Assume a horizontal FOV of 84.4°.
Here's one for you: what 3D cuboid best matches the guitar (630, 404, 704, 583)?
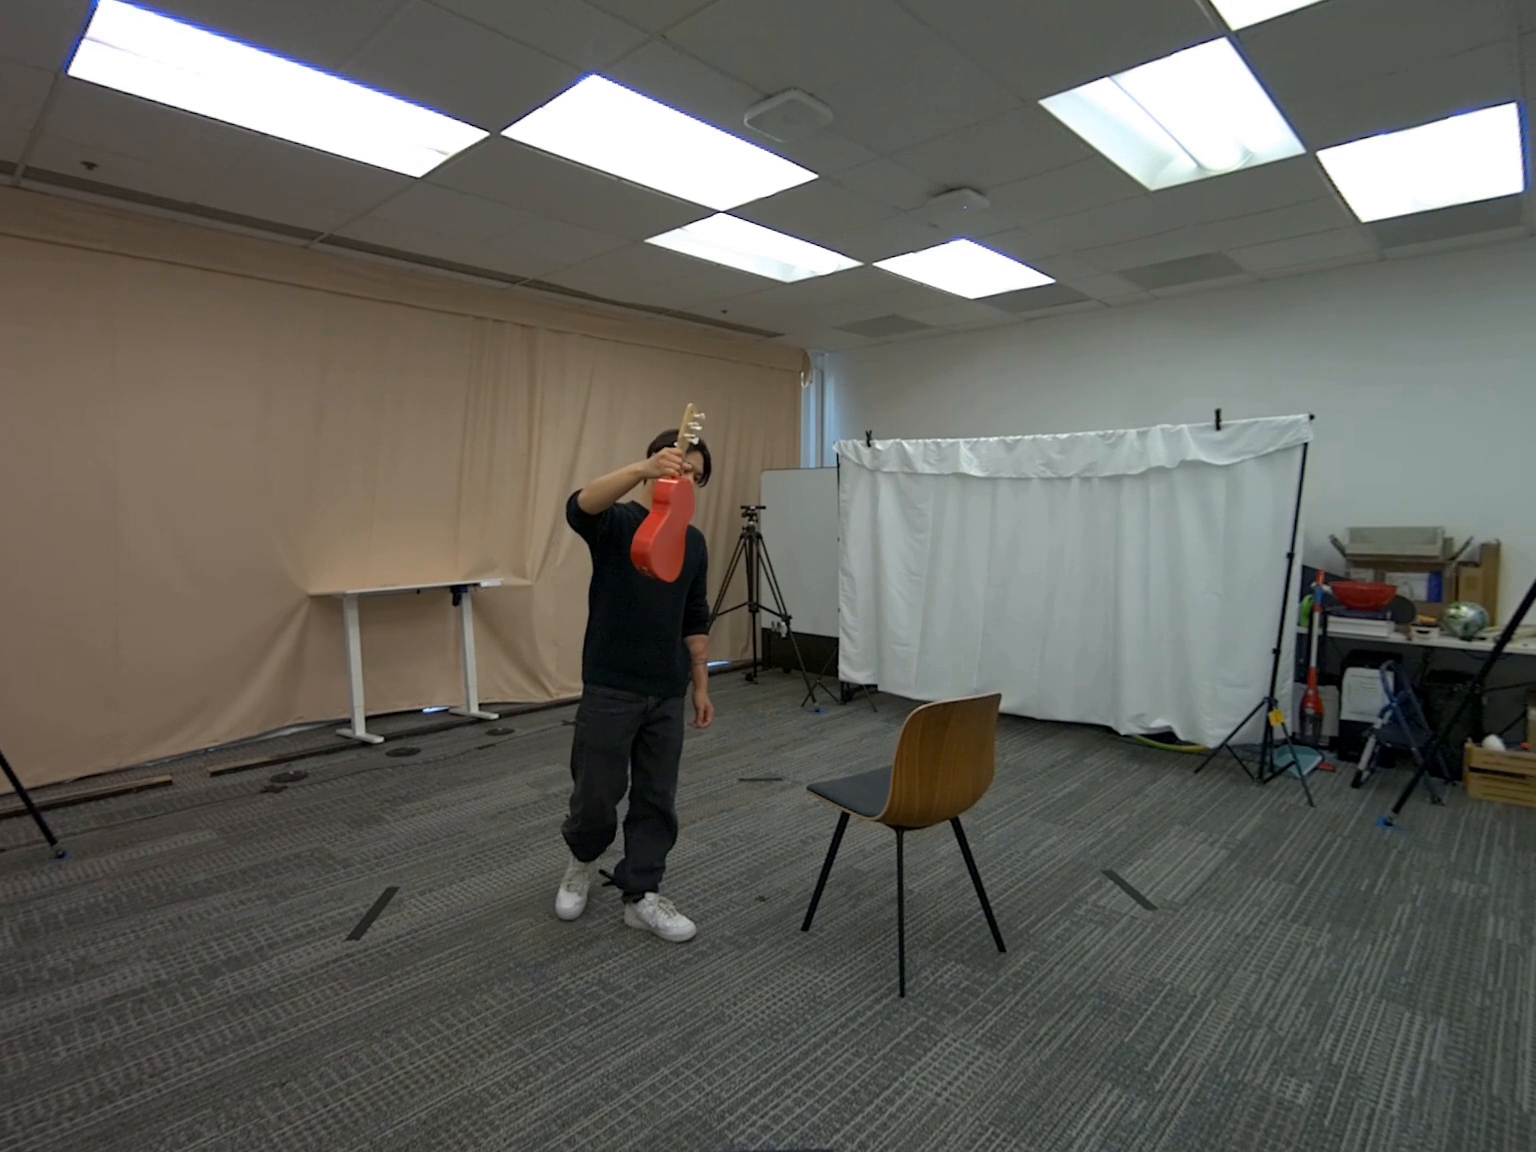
[{"bbox_3d":[-0.250,-0.240,2.236,0.072,0.499,0.188,9,-6,21],"label":"guitar"}]
